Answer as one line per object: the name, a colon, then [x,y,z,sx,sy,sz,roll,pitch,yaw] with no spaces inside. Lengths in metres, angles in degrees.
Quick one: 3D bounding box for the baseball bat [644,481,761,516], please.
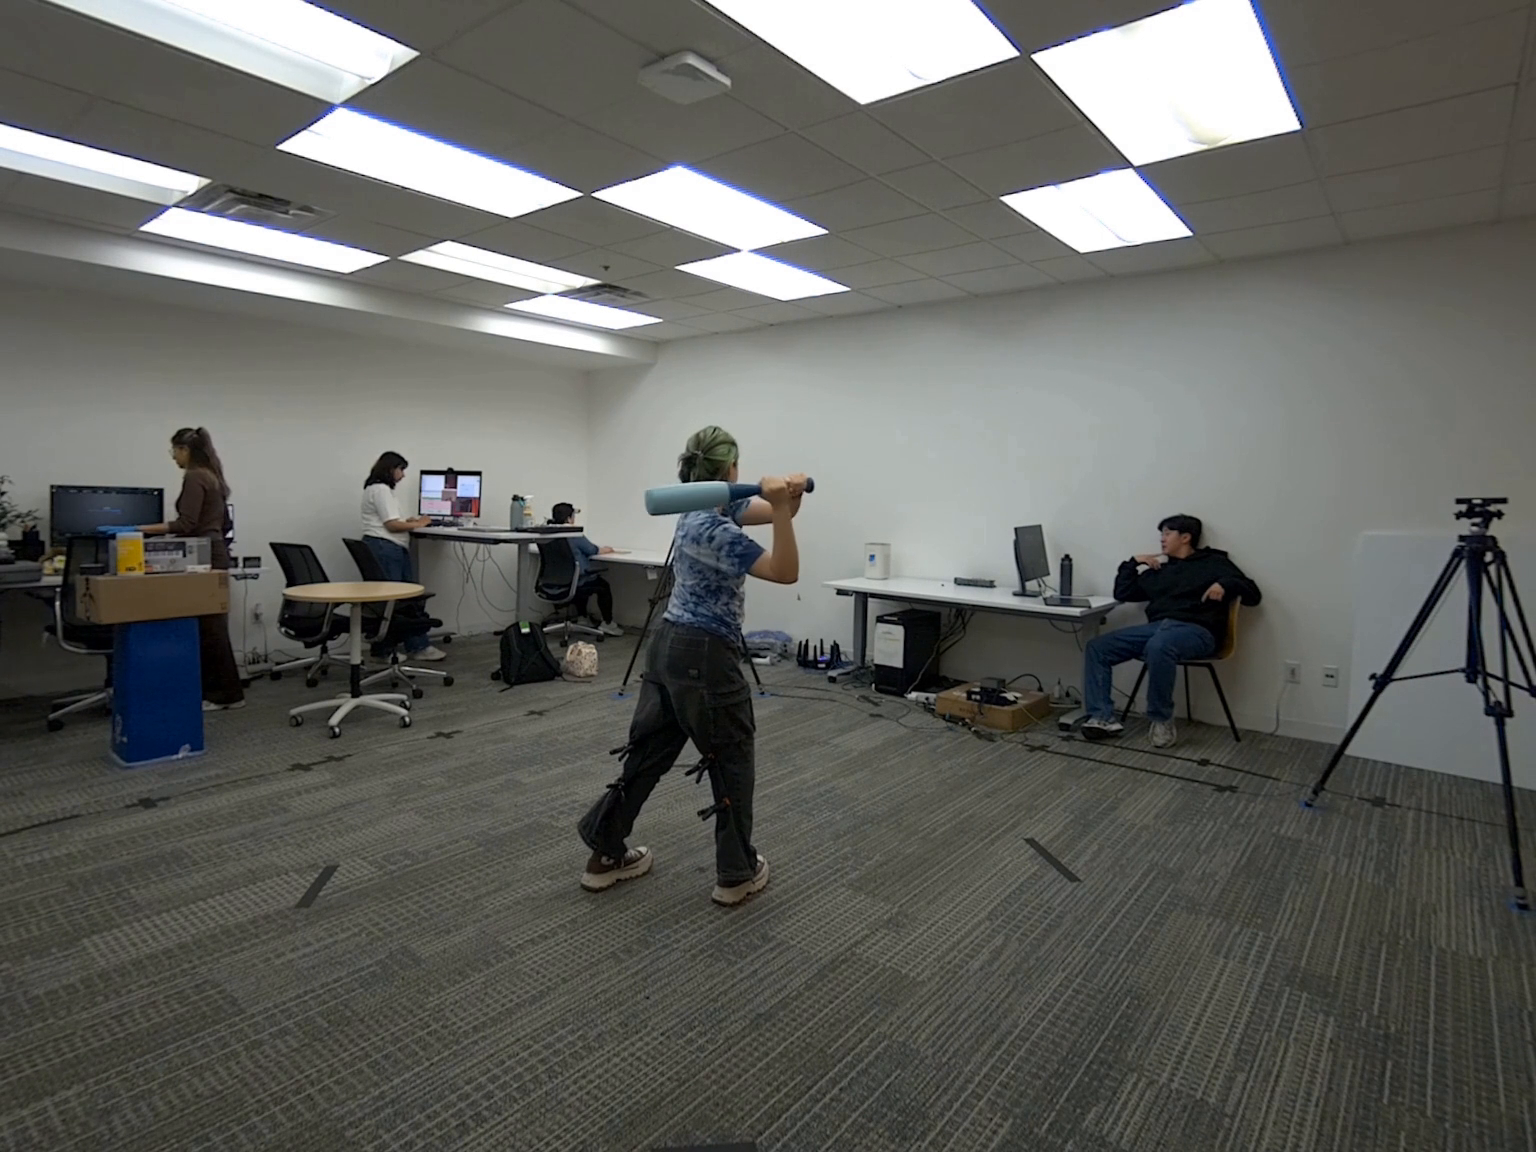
baseball bat: [-0.107,-0.250,2.609,0.535,0.088,0.091,-8,7,-16]
